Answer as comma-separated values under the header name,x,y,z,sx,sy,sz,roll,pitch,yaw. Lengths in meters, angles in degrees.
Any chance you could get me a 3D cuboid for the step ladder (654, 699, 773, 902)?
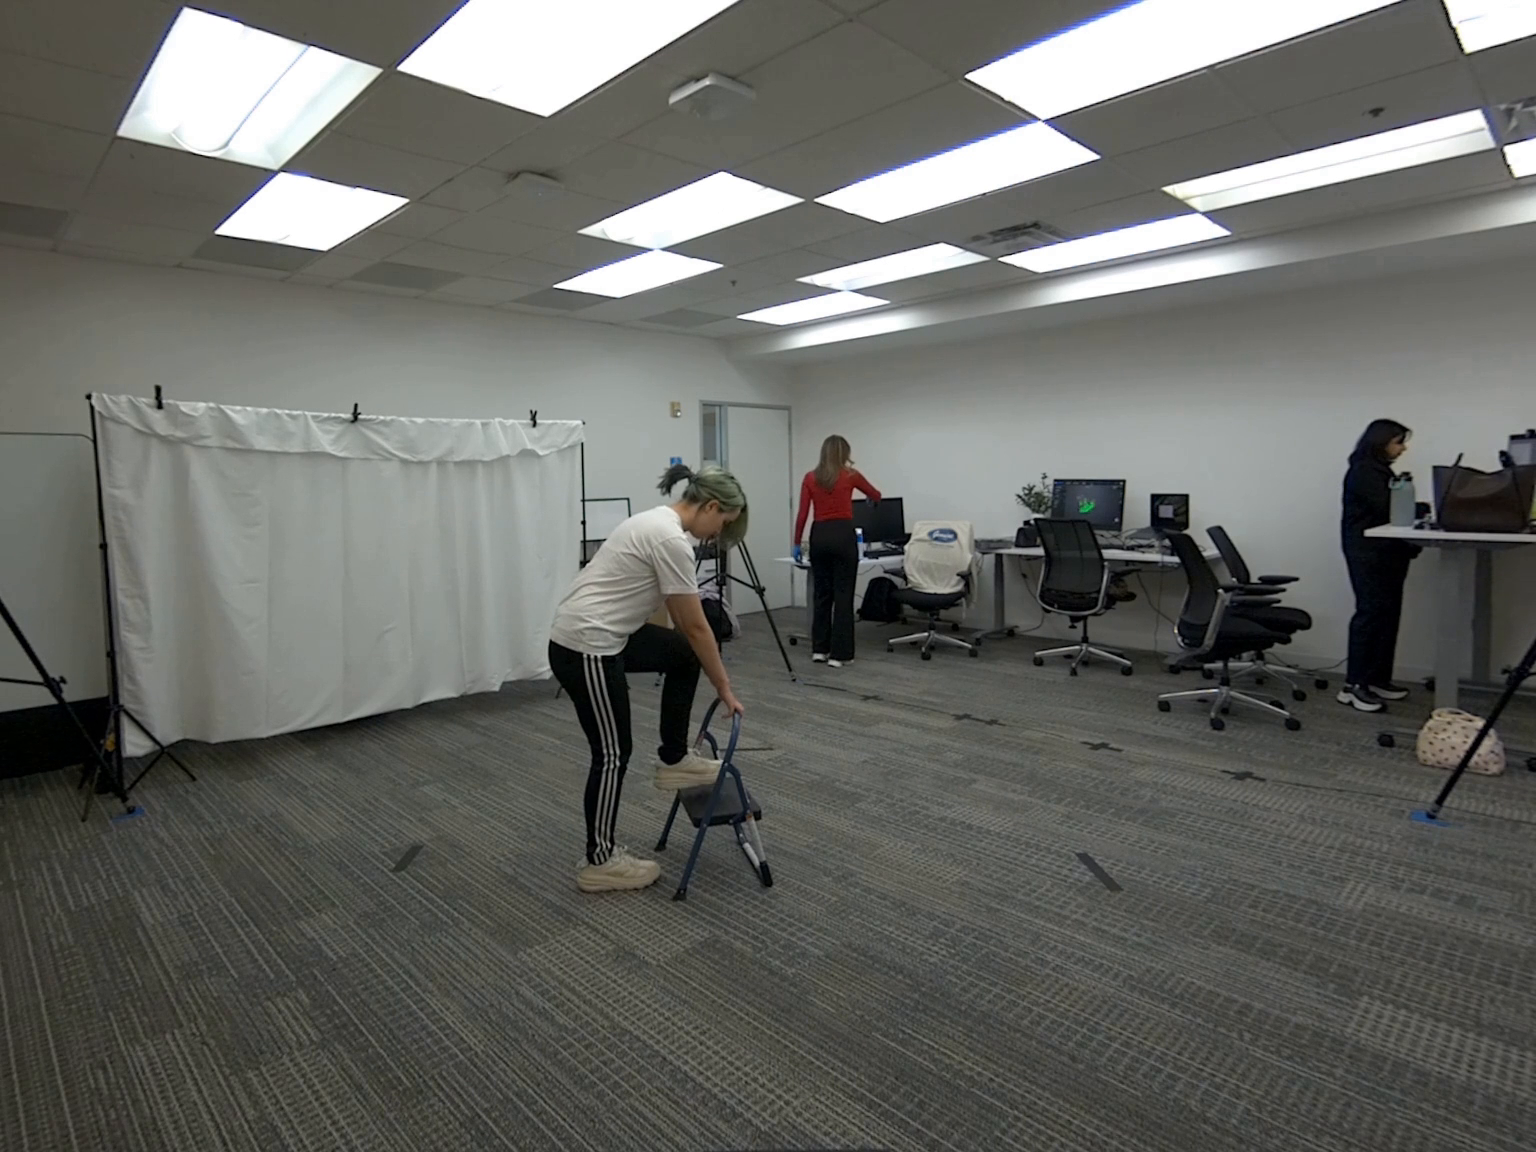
name,x,y,z,sx,sy,sz,roll,pitch,yaw
step ladder,-0.206,0.754,3.073,0.344,0.604,0.438,-2,5,-16
